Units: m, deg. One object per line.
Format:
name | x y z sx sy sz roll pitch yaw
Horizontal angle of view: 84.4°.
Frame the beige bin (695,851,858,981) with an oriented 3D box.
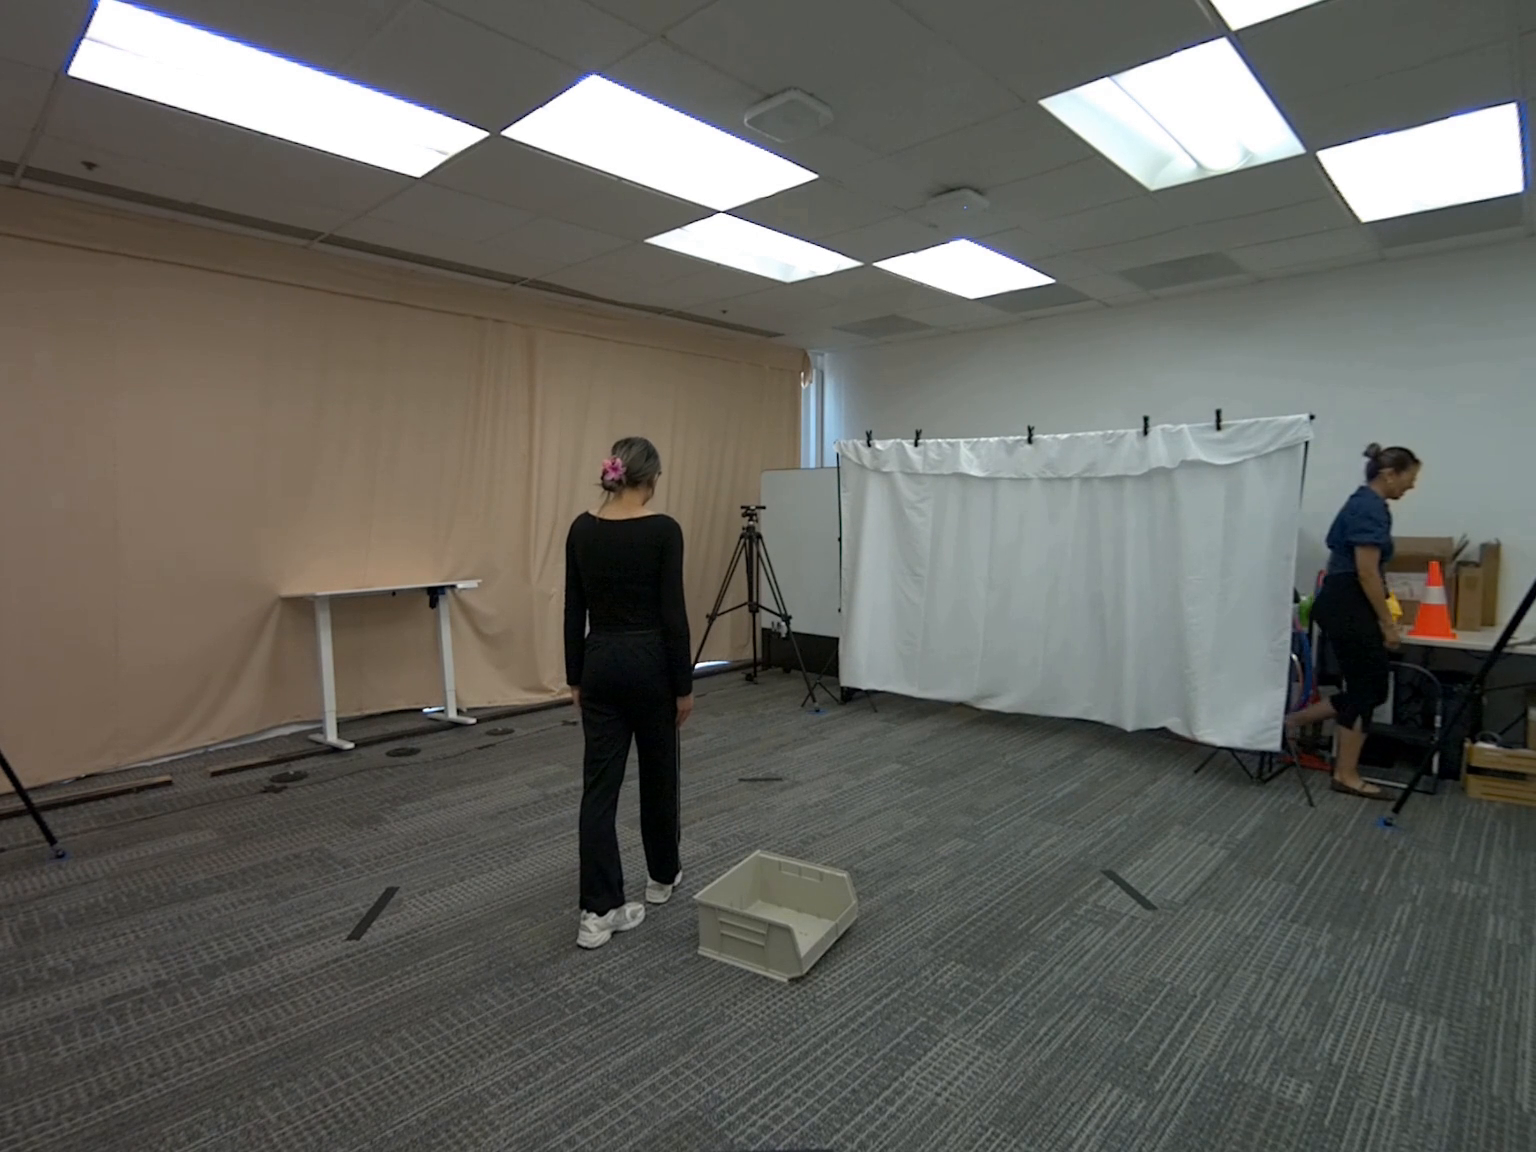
beige bin | 0.033 1.082 2.696 0.388 0.188 0.411 1 5 30
